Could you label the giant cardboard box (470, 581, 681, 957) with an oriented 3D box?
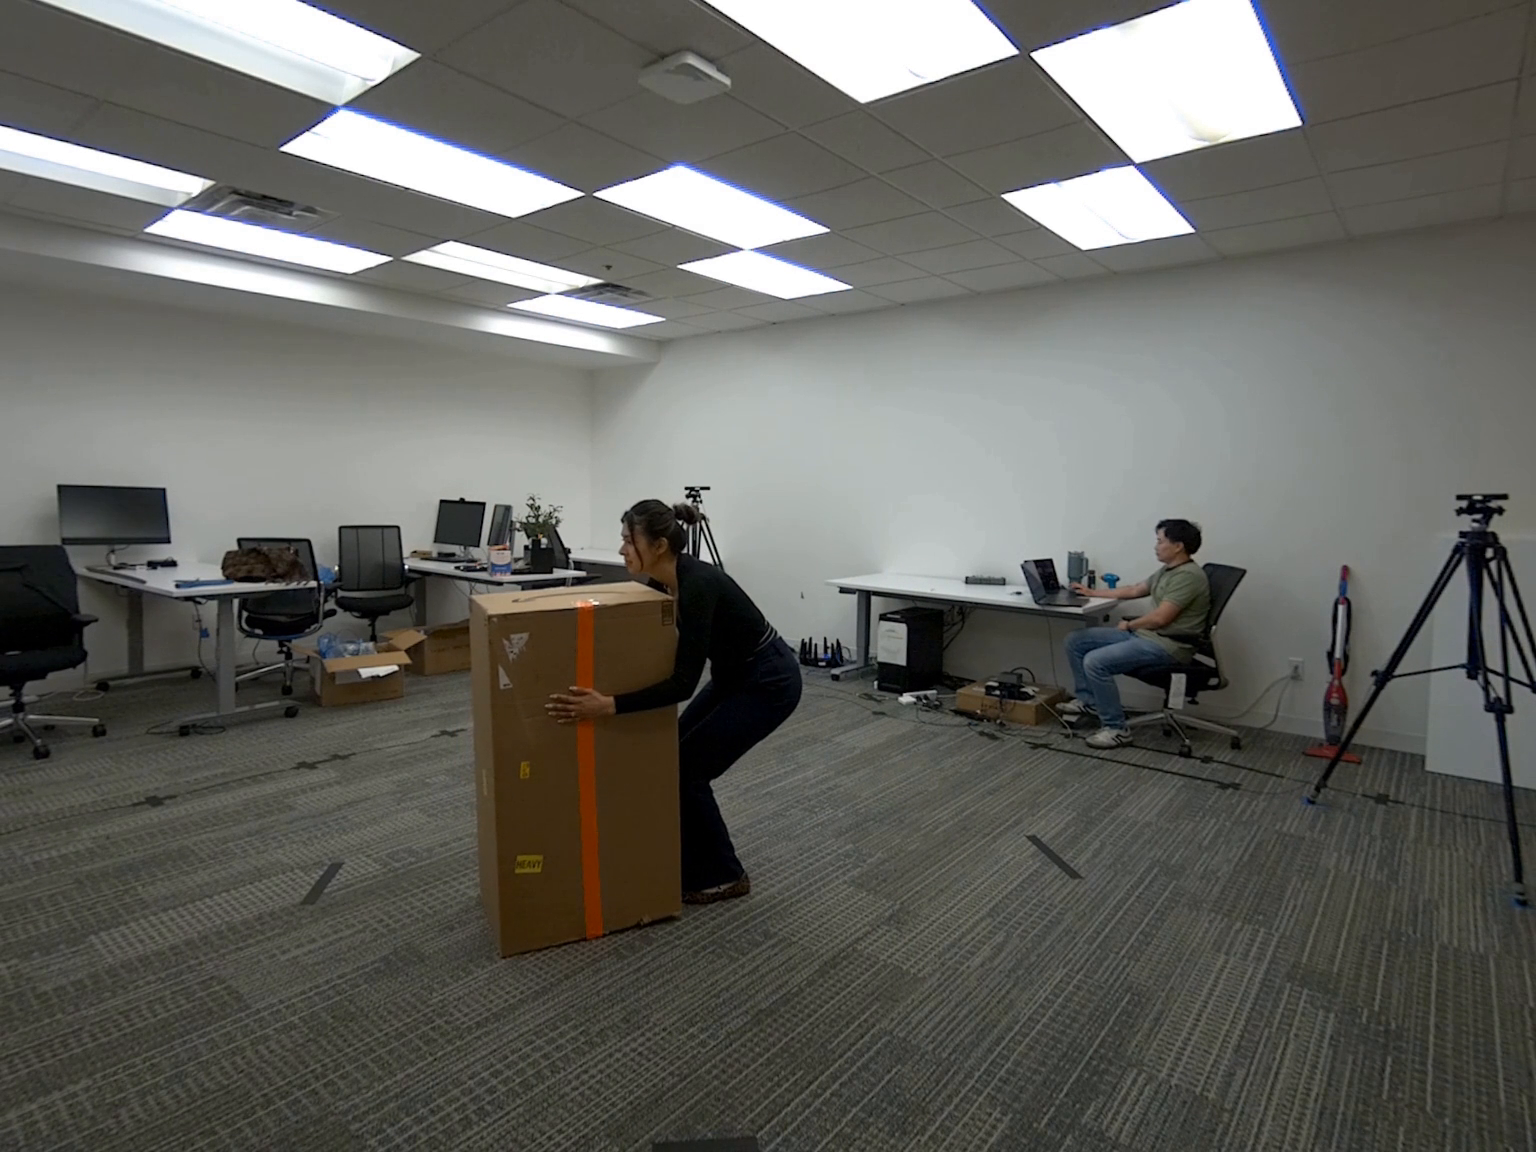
[{"bbox_3d":[-0.641,0.576,2.755,0.565,1.021,0.438,-3,5,-24],"label":"giant cardboard box"}]
